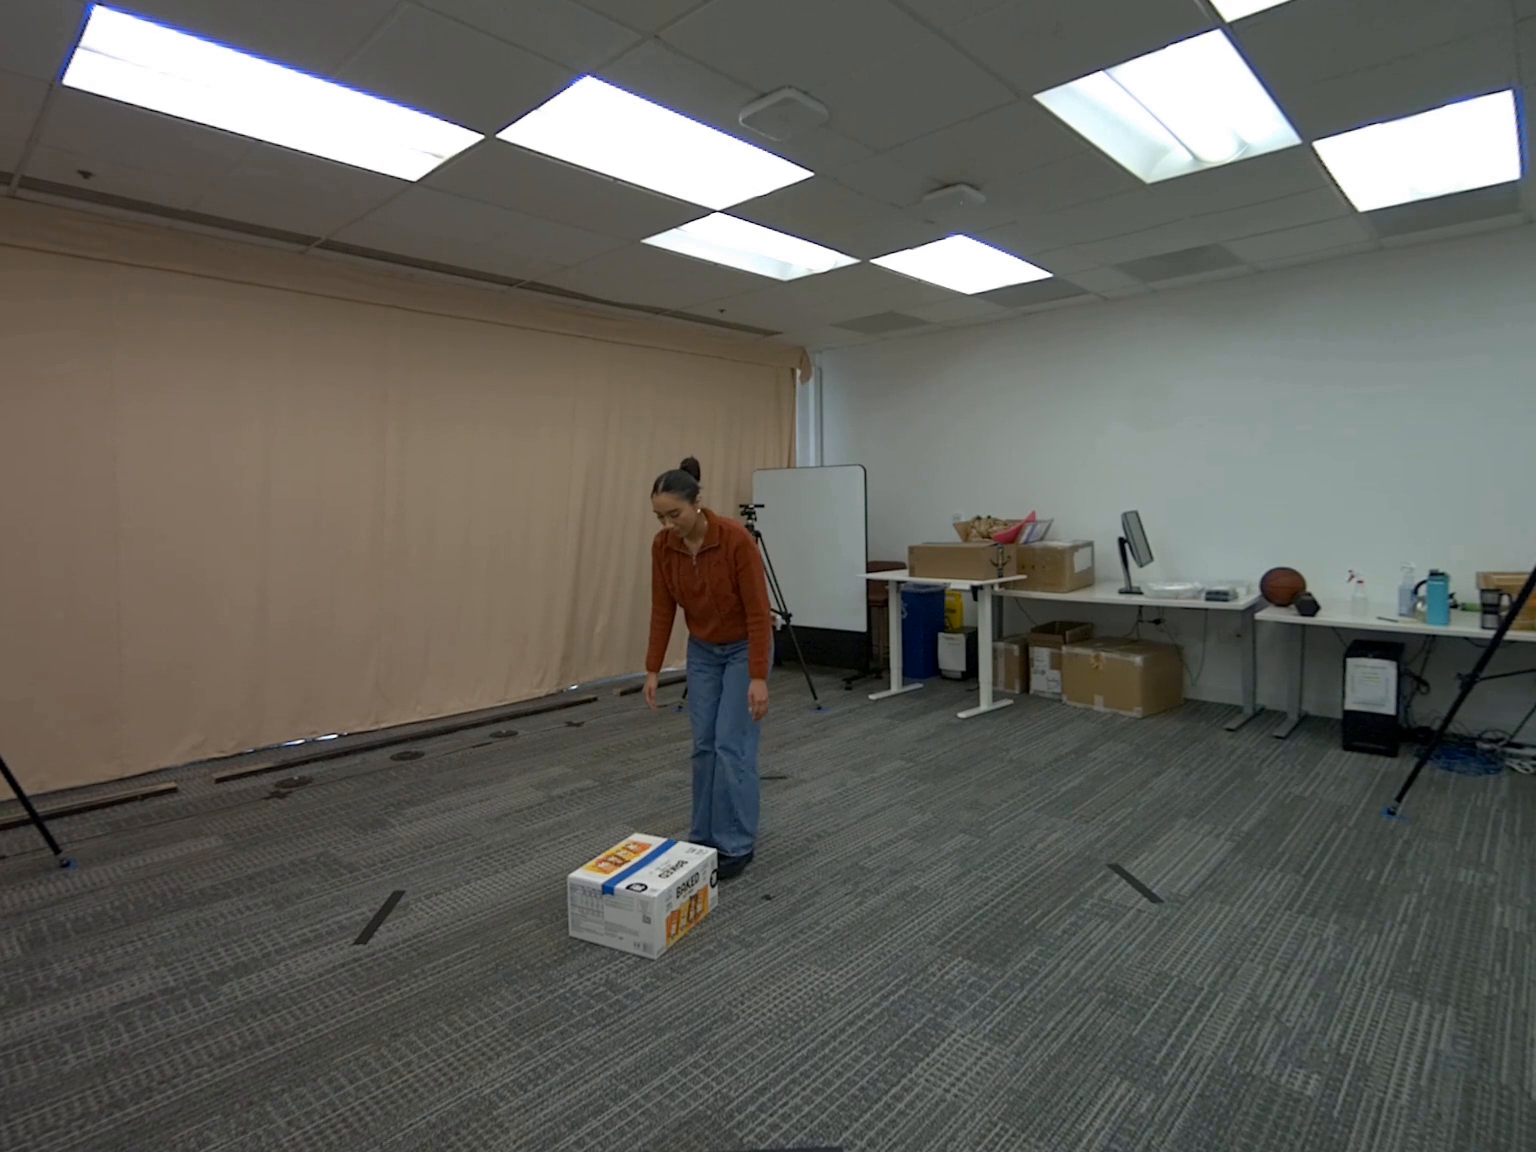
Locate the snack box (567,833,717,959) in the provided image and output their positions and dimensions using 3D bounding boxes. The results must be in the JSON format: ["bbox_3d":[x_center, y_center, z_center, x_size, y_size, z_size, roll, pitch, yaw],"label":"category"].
[{"bbox_3d":[-0.413,1.062,2.823,0.349,0.205,0.395,1,5,27],"label":"snack box"}]
